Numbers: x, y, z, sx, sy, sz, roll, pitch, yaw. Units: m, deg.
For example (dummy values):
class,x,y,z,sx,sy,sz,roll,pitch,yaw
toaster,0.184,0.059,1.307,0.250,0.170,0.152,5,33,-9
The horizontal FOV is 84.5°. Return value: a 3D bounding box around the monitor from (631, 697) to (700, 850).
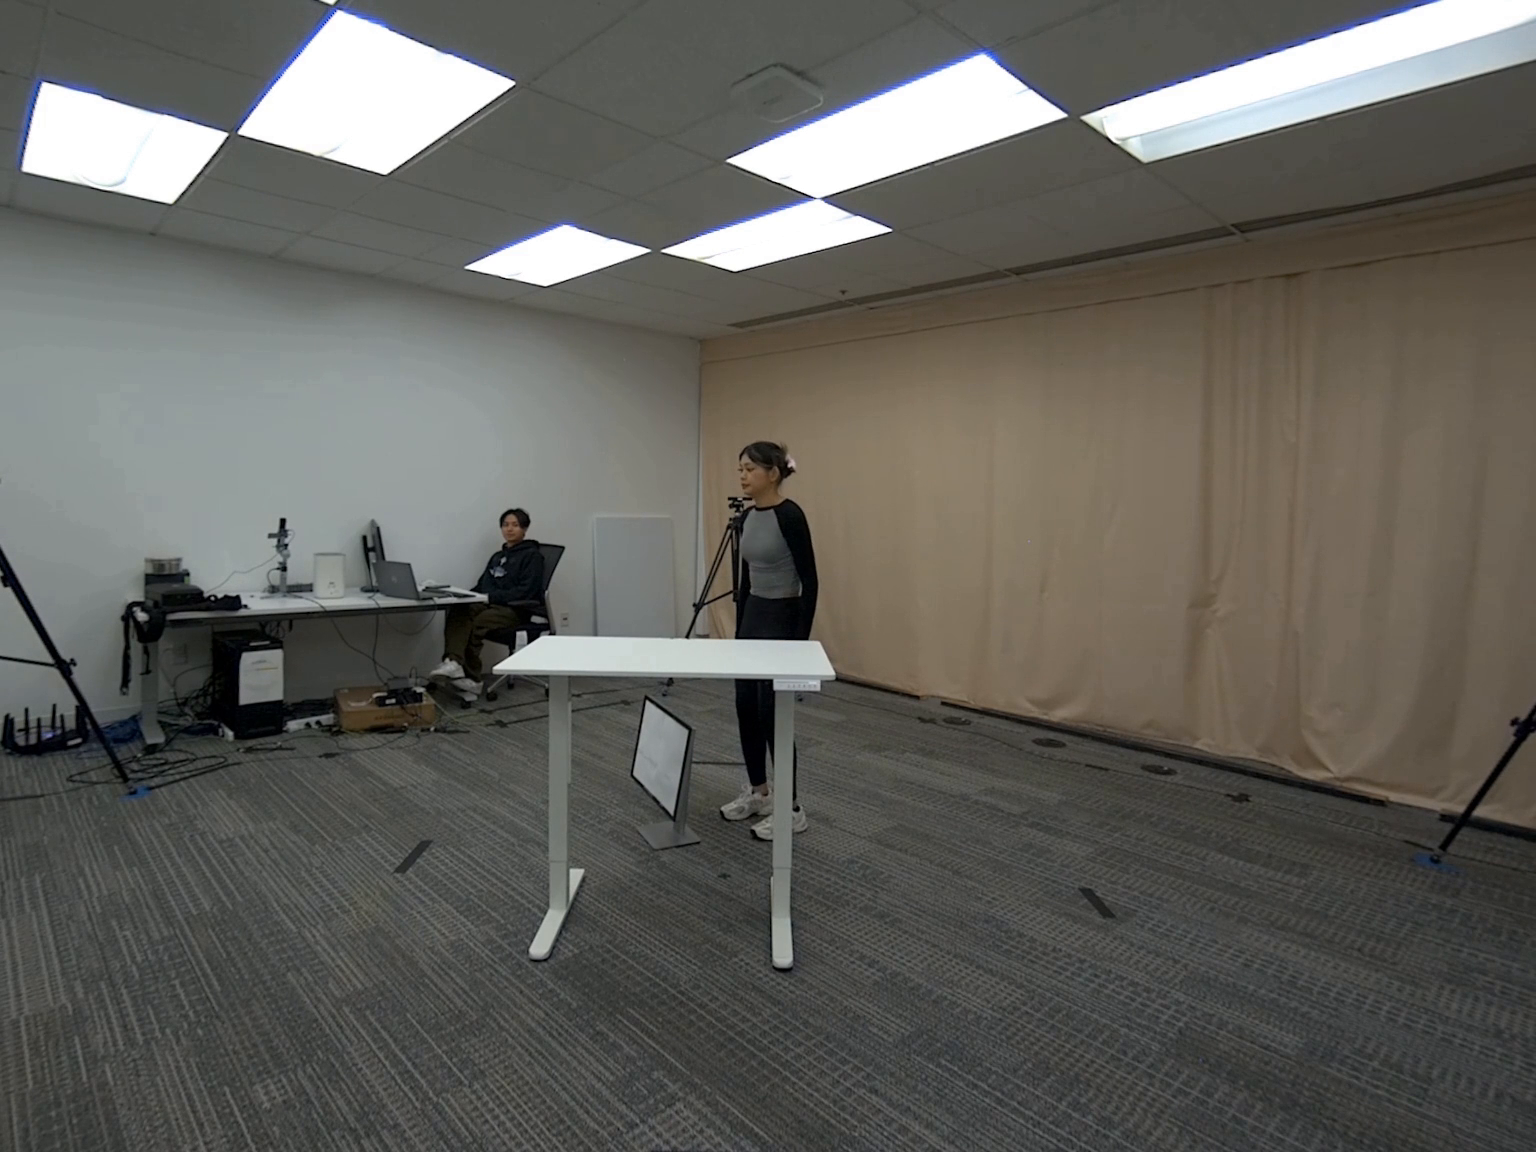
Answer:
class,x,y,z,sx,sy,sz,roll,pitch,yaw
monitor,-0.416,0.812,3.456,0.184,0.521,0.550,-3,5,-27
